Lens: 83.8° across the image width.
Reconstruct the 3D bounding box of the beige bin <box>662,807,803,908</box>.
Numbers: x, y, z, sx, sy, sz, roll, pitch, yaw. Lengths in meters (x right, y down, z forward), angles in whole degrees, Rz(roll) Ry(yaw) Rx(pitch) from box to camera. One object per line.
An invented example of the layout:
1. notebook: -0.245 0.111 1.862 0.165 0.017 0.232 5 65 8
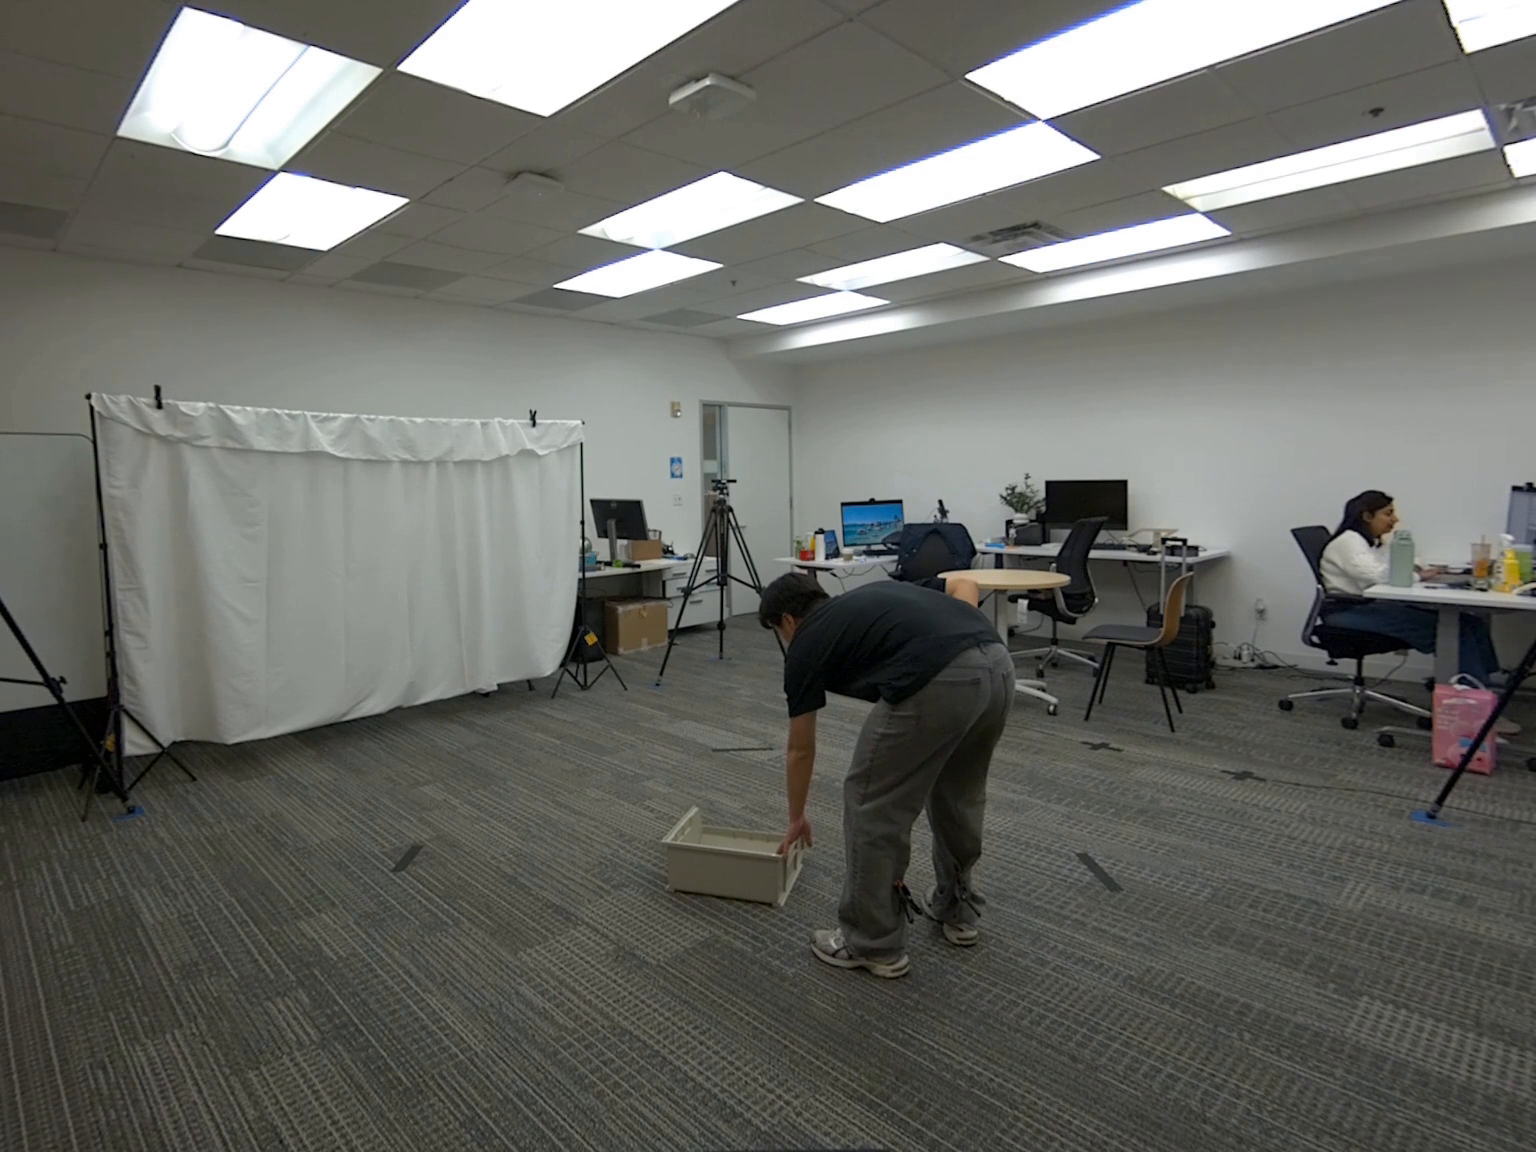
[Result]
1. beige bin: -0.110 0.973 3.010 0.429 0.188 0.373 1 7 16
